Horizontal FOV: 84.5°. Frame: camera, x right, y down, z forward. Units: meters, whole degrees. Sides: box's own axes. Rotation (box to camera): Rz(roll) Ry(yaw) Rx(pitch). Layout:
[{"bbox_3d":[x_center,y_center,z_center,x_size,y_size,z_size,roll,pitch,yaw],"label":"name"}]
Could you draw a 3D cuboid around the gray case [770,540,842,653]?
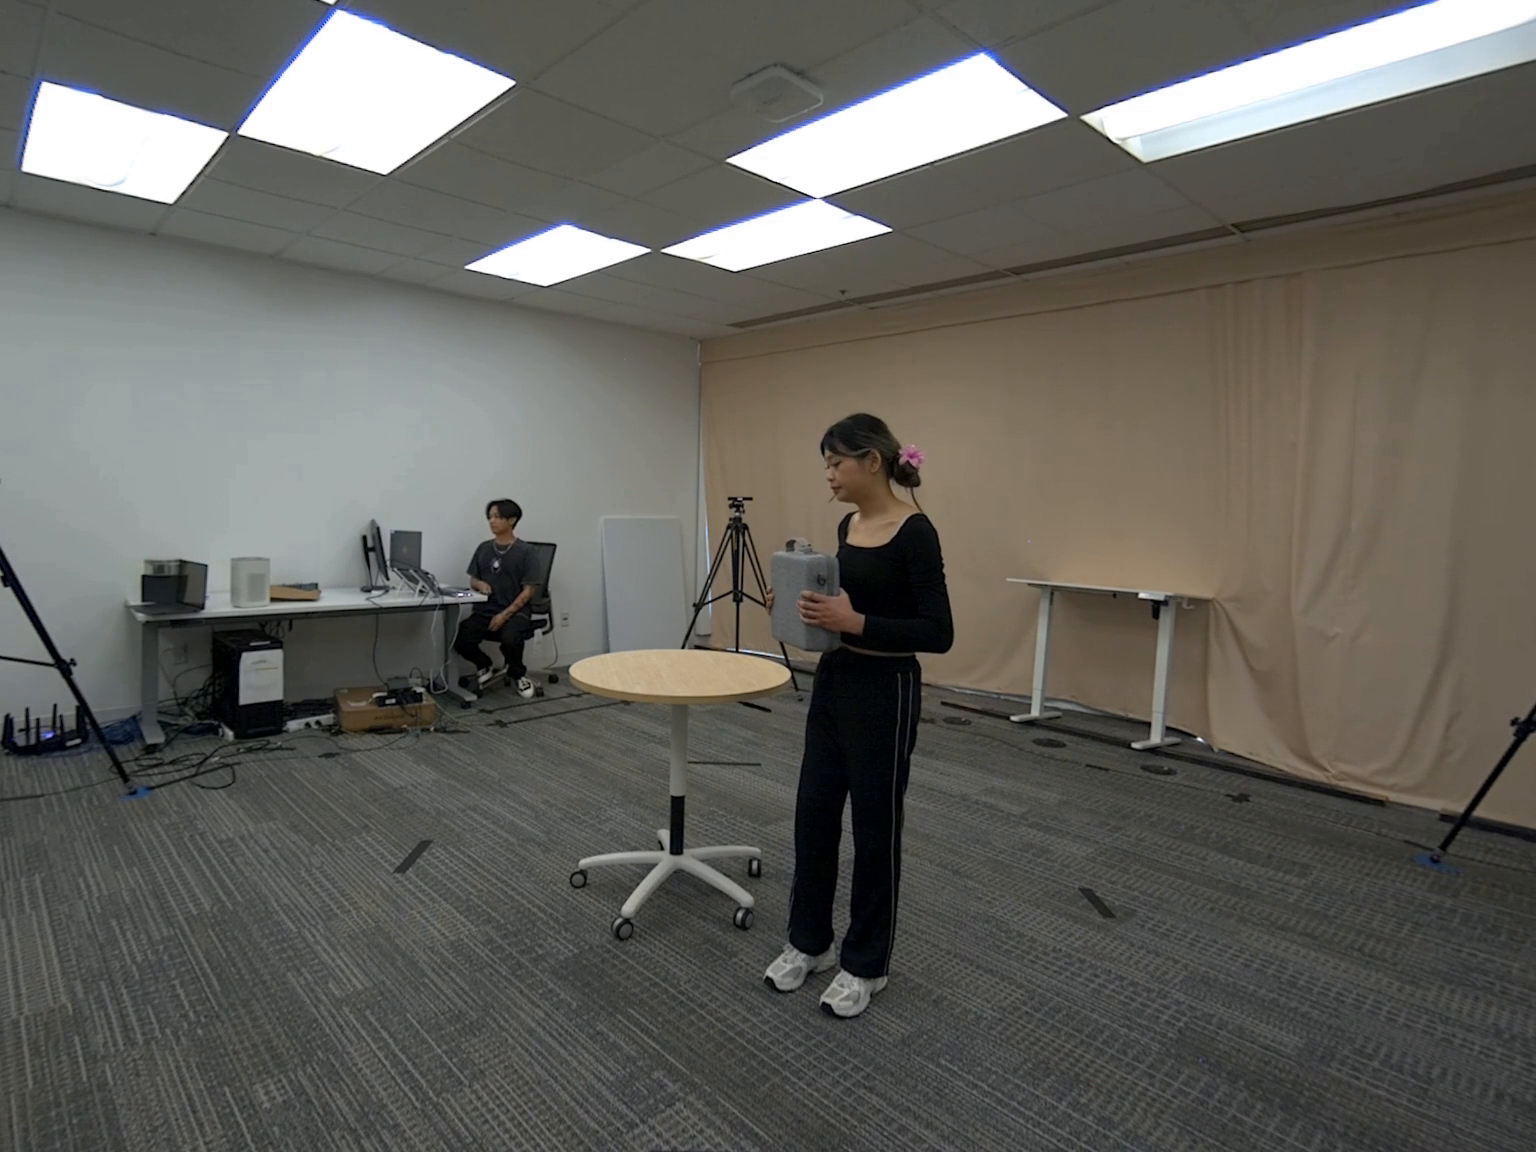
[{"bbox_3d":[0.095,0.062,2.230,0.103,0.260,0.261,-3,4,-19],"label":"gray case"}]
